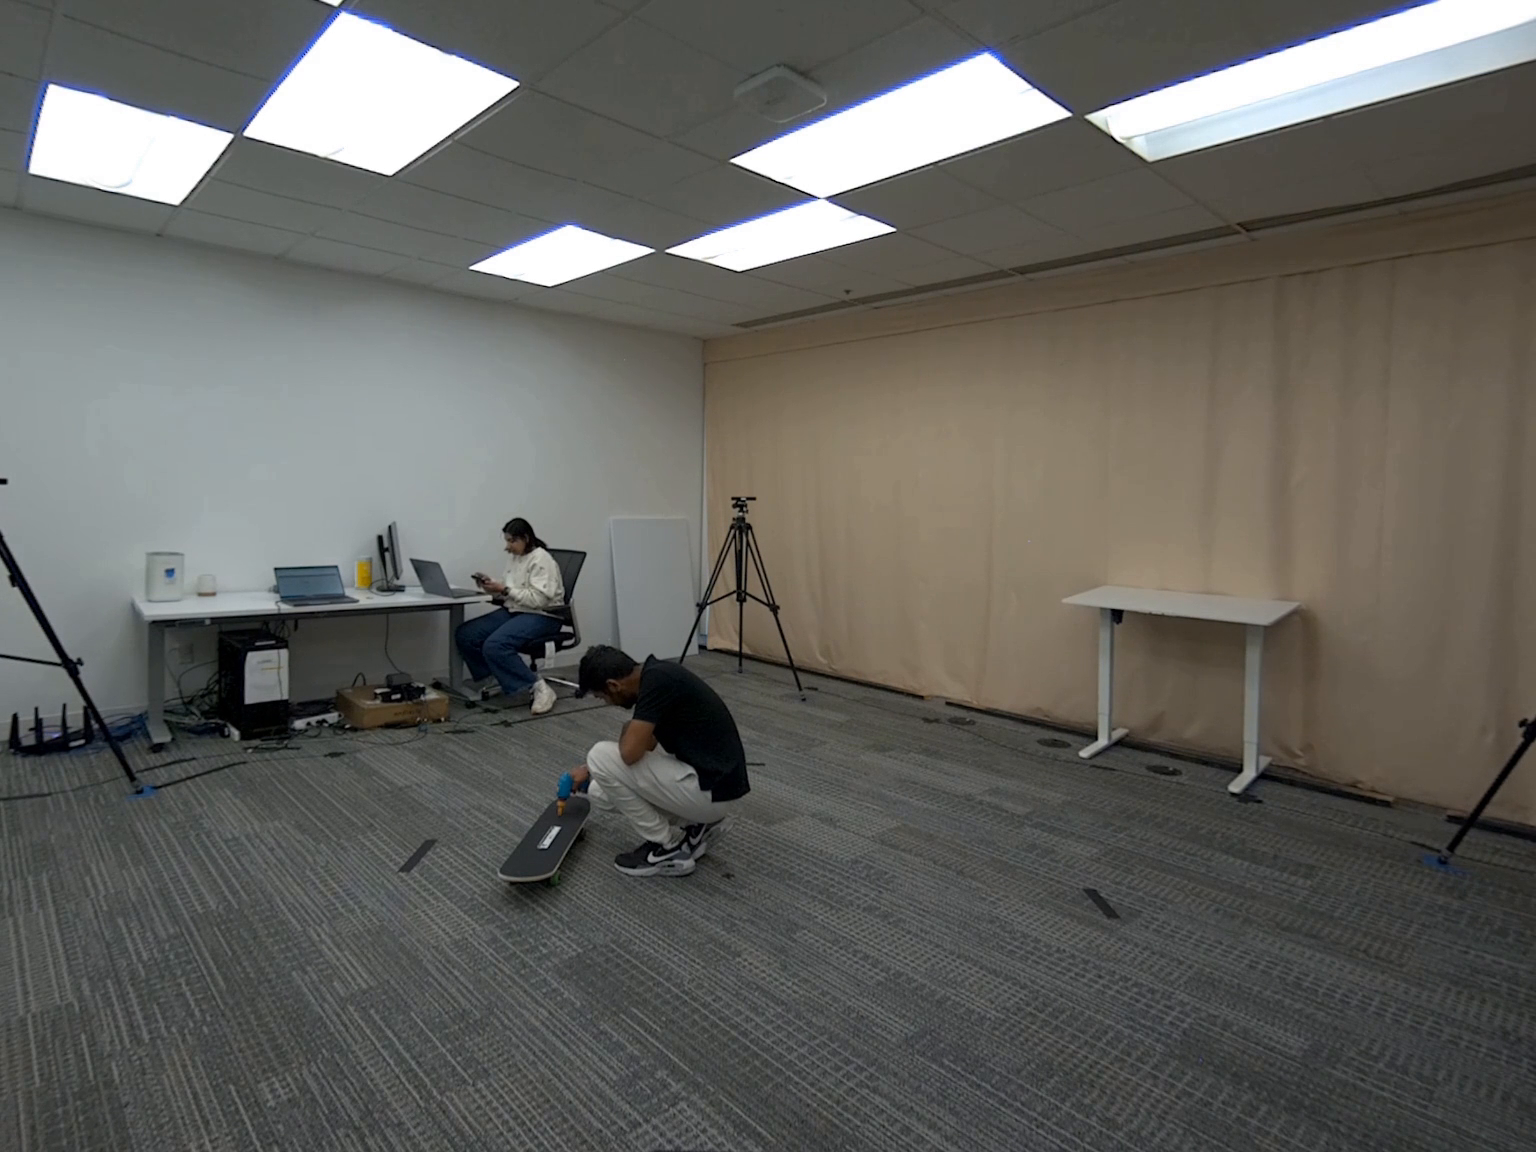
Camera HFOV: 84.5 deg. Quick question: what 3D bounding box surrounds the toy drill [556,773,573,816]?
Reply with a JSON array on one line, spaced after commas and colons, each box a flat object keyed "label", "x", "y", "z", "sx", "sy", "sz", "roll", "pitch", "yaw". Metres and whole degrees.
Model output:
[{"label": "toy drill", "x": -0.820, "y": 0.893, "z": 3.471, "sx": 0.142, "sy": 0.171, "sz": 0.062, "roll": 17, "pitch": -19, "yaw": -36}]
